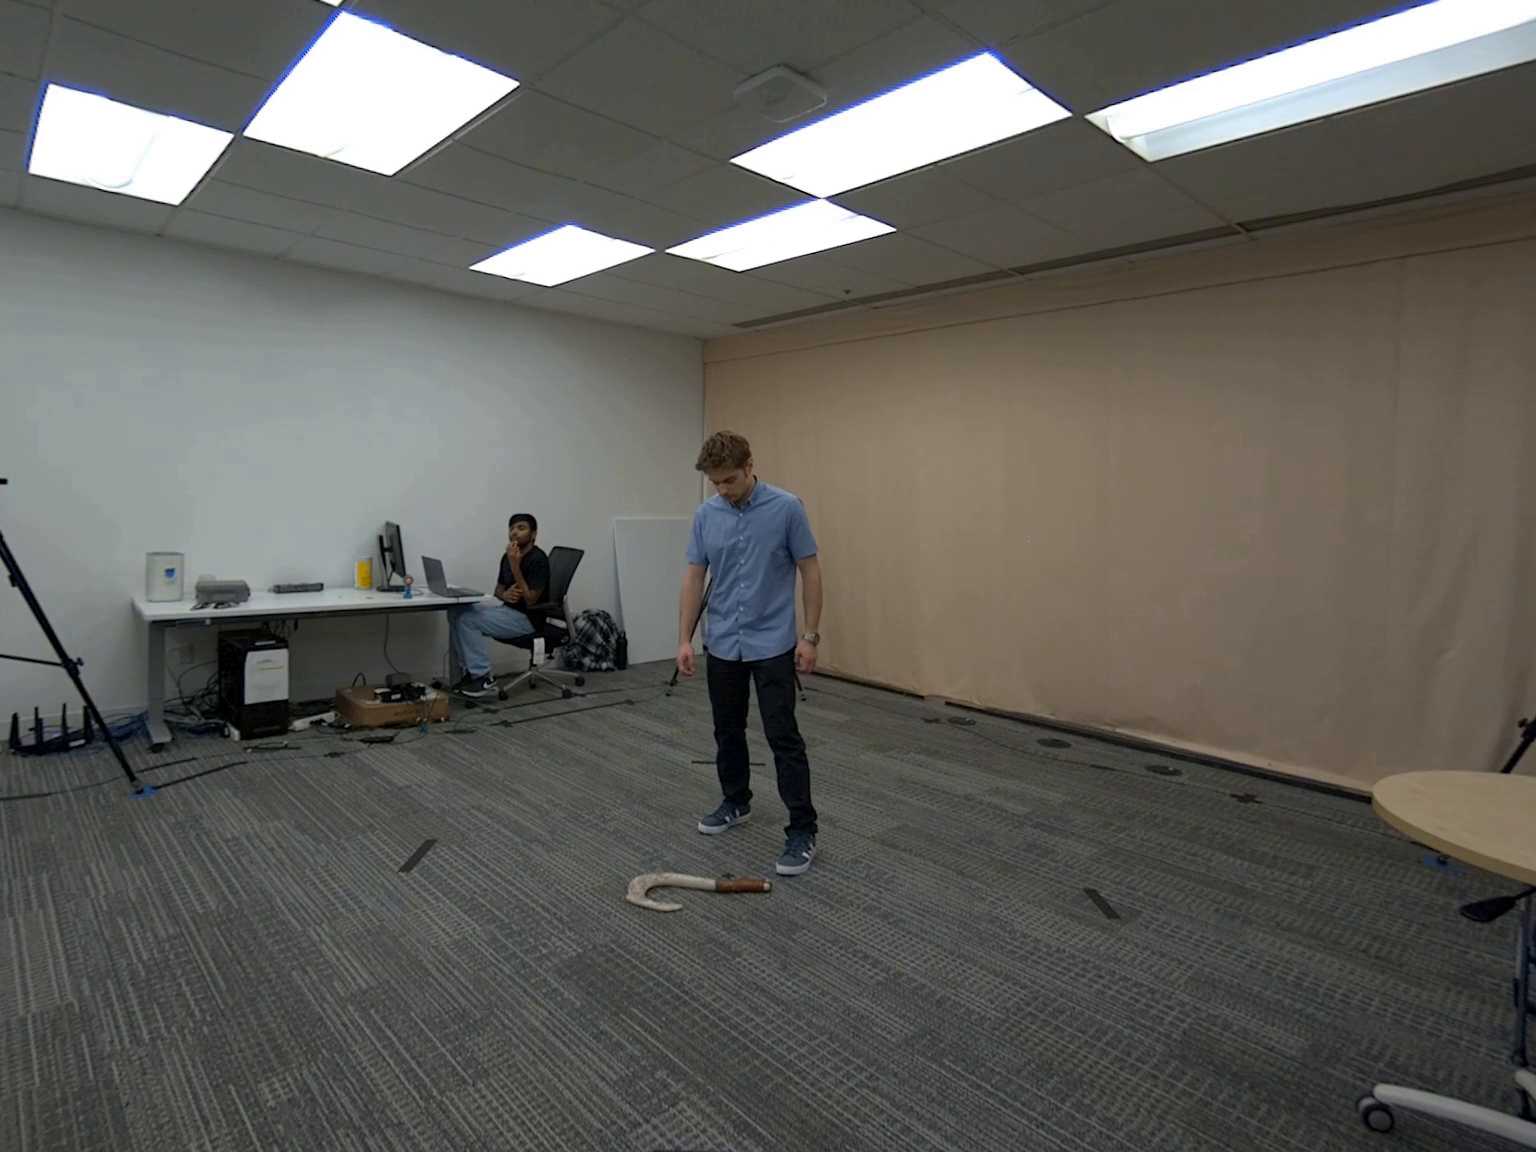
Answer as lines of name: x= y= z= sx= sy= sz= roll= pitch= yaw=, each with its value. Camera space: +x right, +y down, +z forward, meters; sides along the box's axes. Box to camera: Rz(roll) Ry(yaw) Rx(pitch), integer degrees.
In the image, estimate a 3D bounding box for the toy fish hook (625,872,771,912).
toy fish hook: x=-0.242 y=1.104 z=2.933 sx=0.506 sy=0.048 sz=0.227 roll=0 pitch=13 yaw=-1
